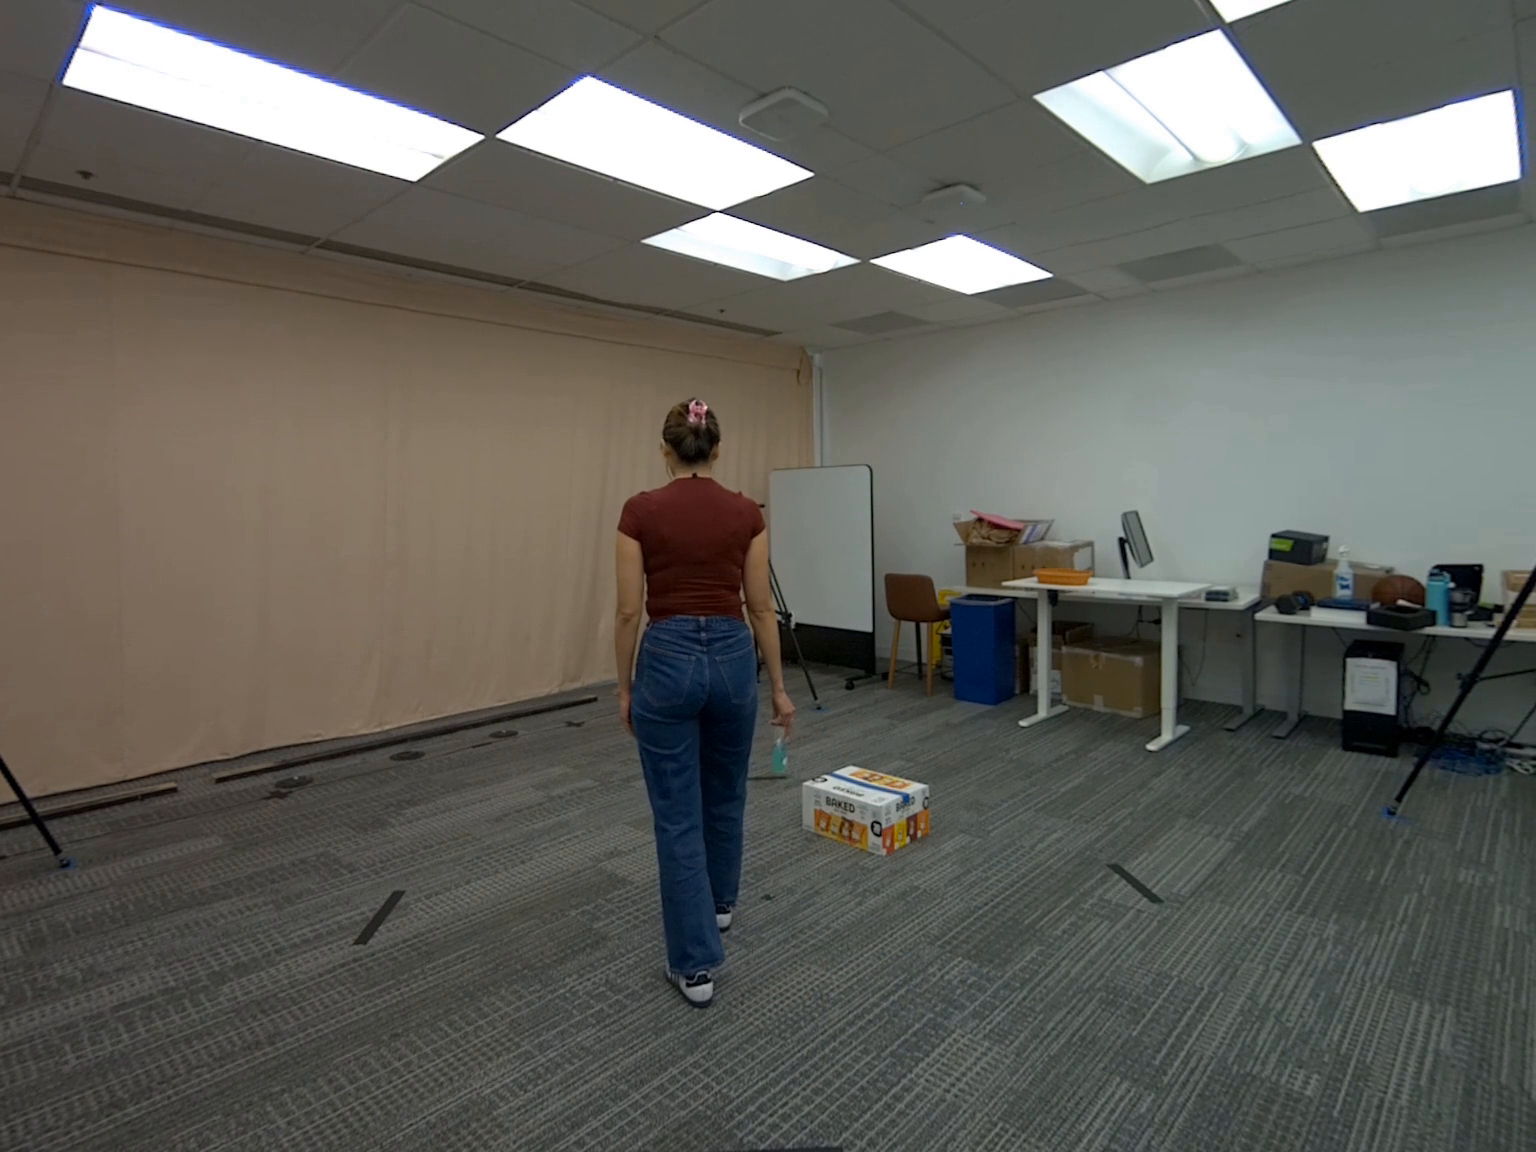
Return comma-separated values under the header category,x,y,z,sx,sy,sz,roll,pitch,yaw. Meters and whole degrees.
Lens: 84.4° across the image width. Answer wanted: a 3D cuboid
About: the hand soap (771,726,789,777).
category,x,y,z,sx,sy,sz,roll,pitch,yaw
hand soap,0.042,0.516,2.641,0.044,0.167,0.084,1,7,9
